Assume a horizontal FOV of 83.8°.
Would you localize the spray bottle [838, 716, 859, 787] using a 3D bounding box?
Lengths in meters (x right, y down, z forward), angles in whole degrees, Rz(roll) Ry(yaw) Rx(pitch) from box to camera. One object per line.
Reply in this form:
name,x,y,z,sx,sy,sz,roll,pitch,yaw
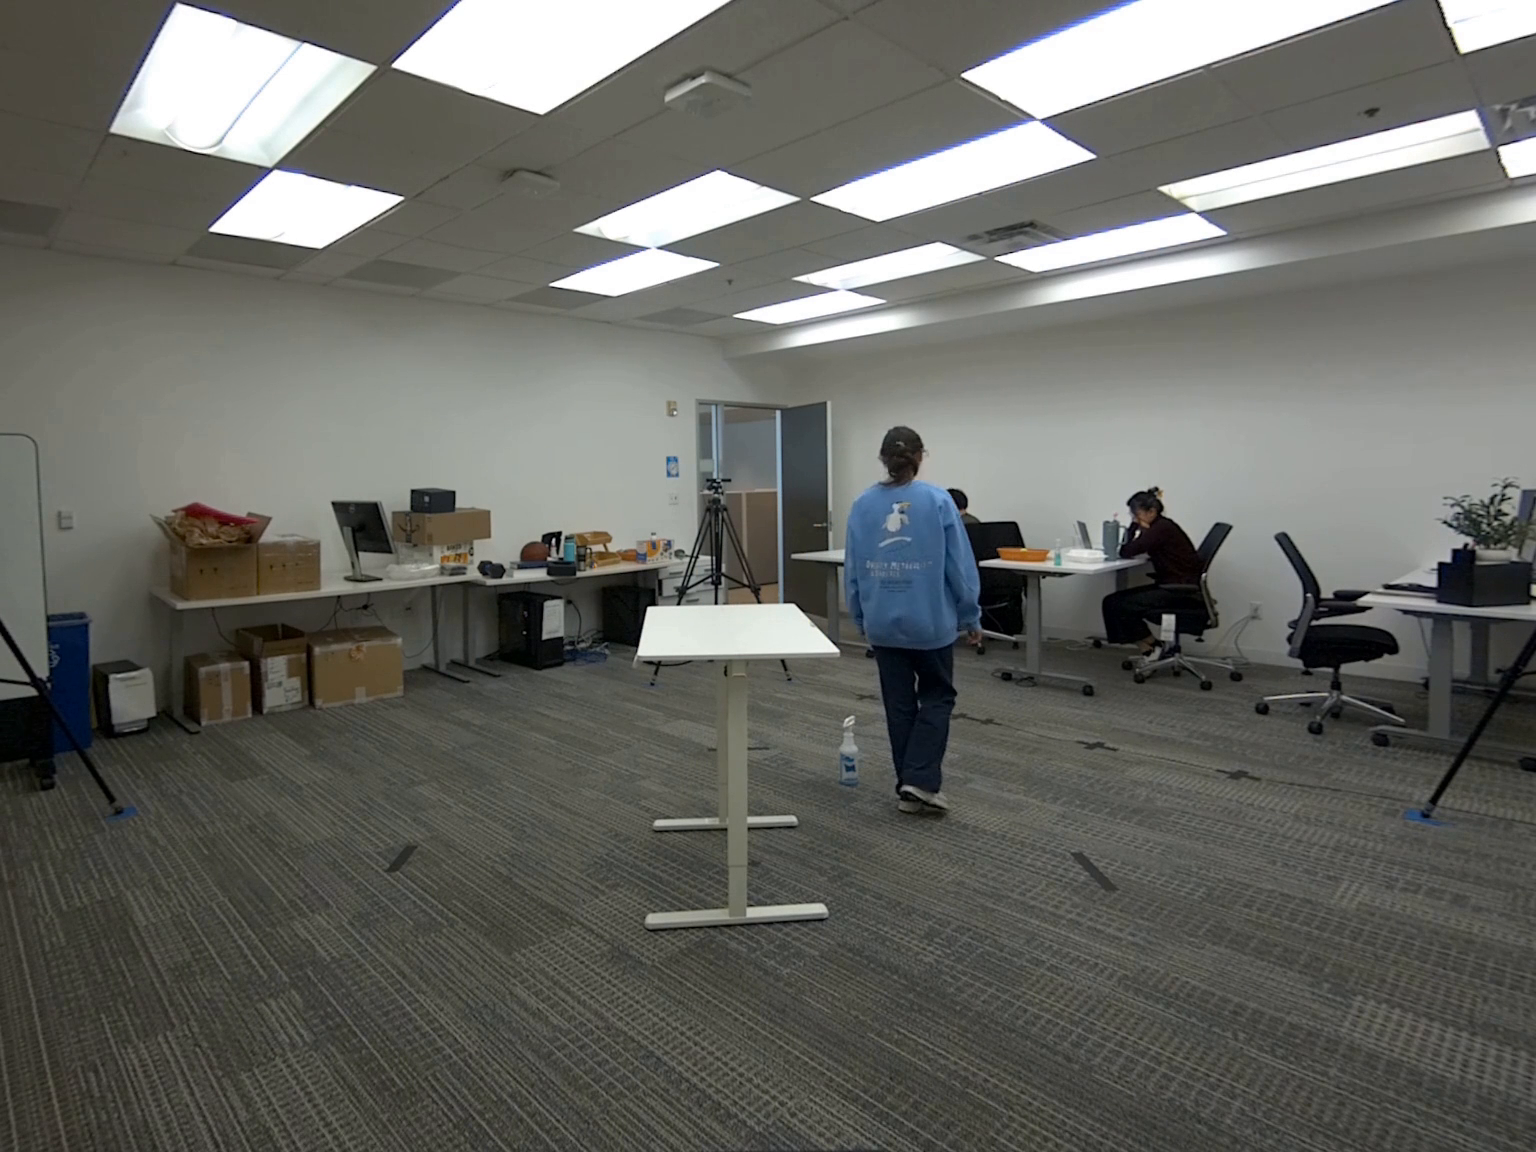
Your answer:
spray bottle,0.371,0.802,3.919,0.088,0.297,0.089,-3,3,-27
